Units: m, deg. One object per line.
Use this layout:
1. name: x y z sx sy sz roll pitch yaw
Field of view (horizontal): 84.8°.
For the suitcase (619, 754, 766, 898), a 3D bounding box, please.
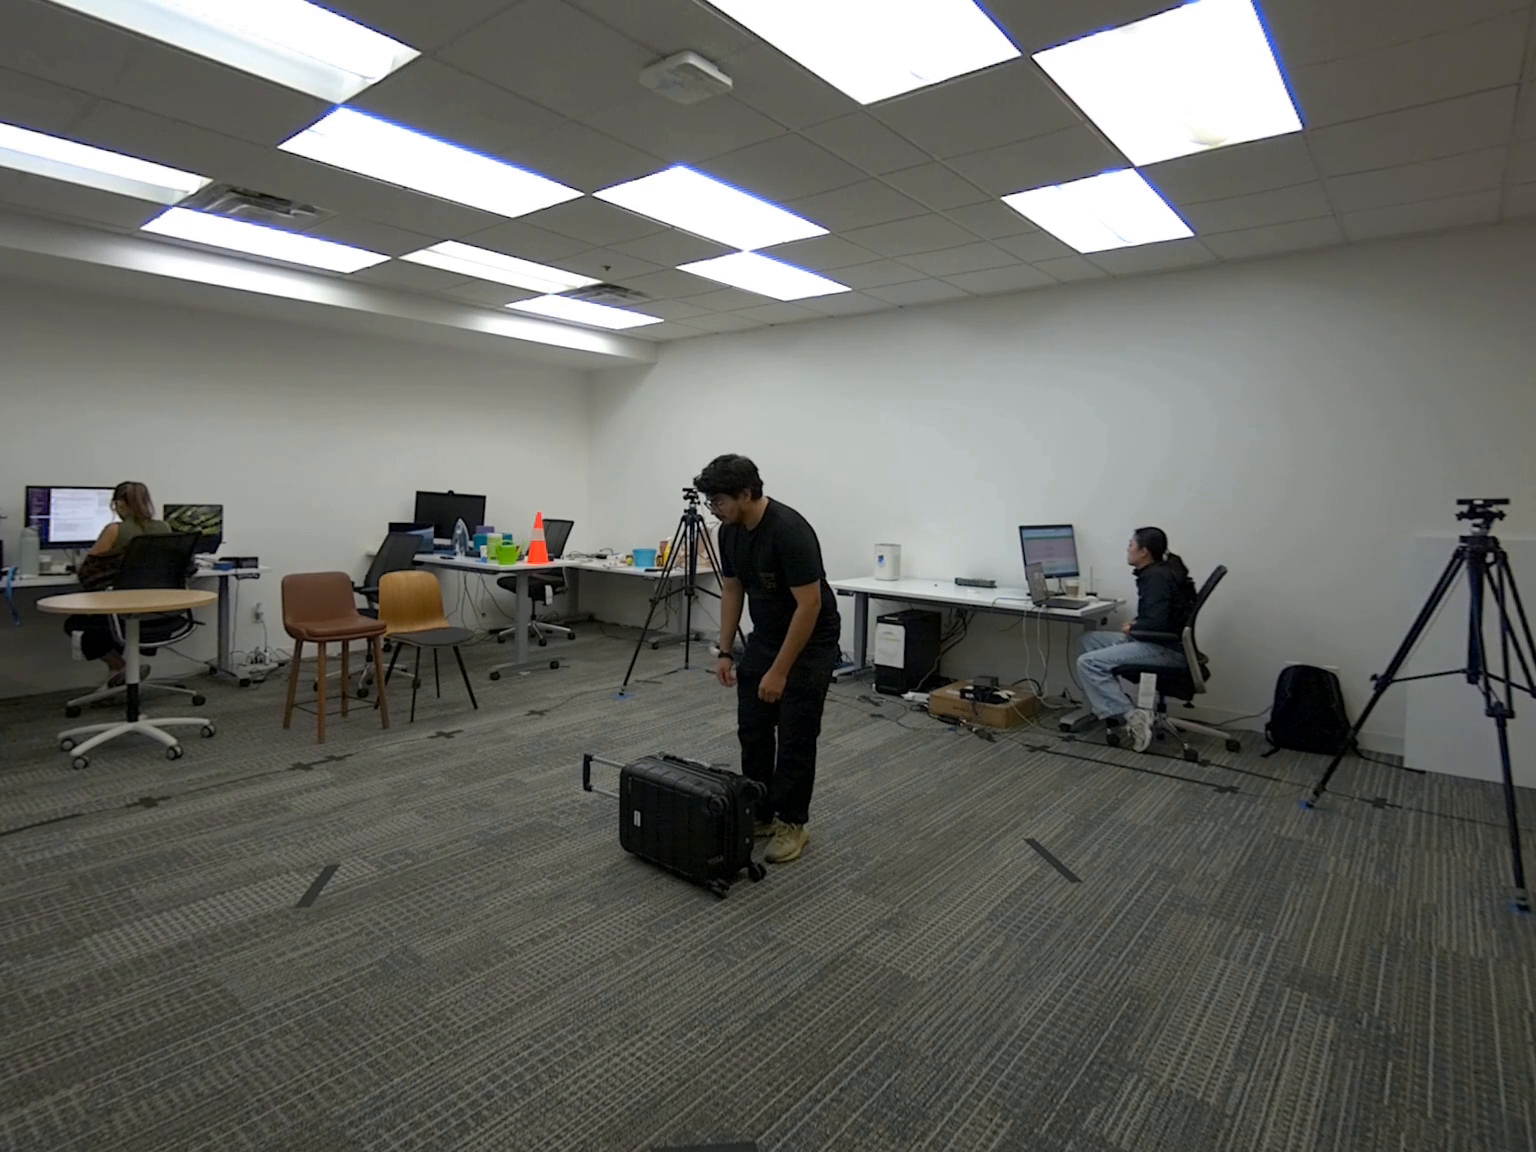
1. suitcase: -0.475 0.865 3.252 1.011 0.383 0.249 4 5 39
